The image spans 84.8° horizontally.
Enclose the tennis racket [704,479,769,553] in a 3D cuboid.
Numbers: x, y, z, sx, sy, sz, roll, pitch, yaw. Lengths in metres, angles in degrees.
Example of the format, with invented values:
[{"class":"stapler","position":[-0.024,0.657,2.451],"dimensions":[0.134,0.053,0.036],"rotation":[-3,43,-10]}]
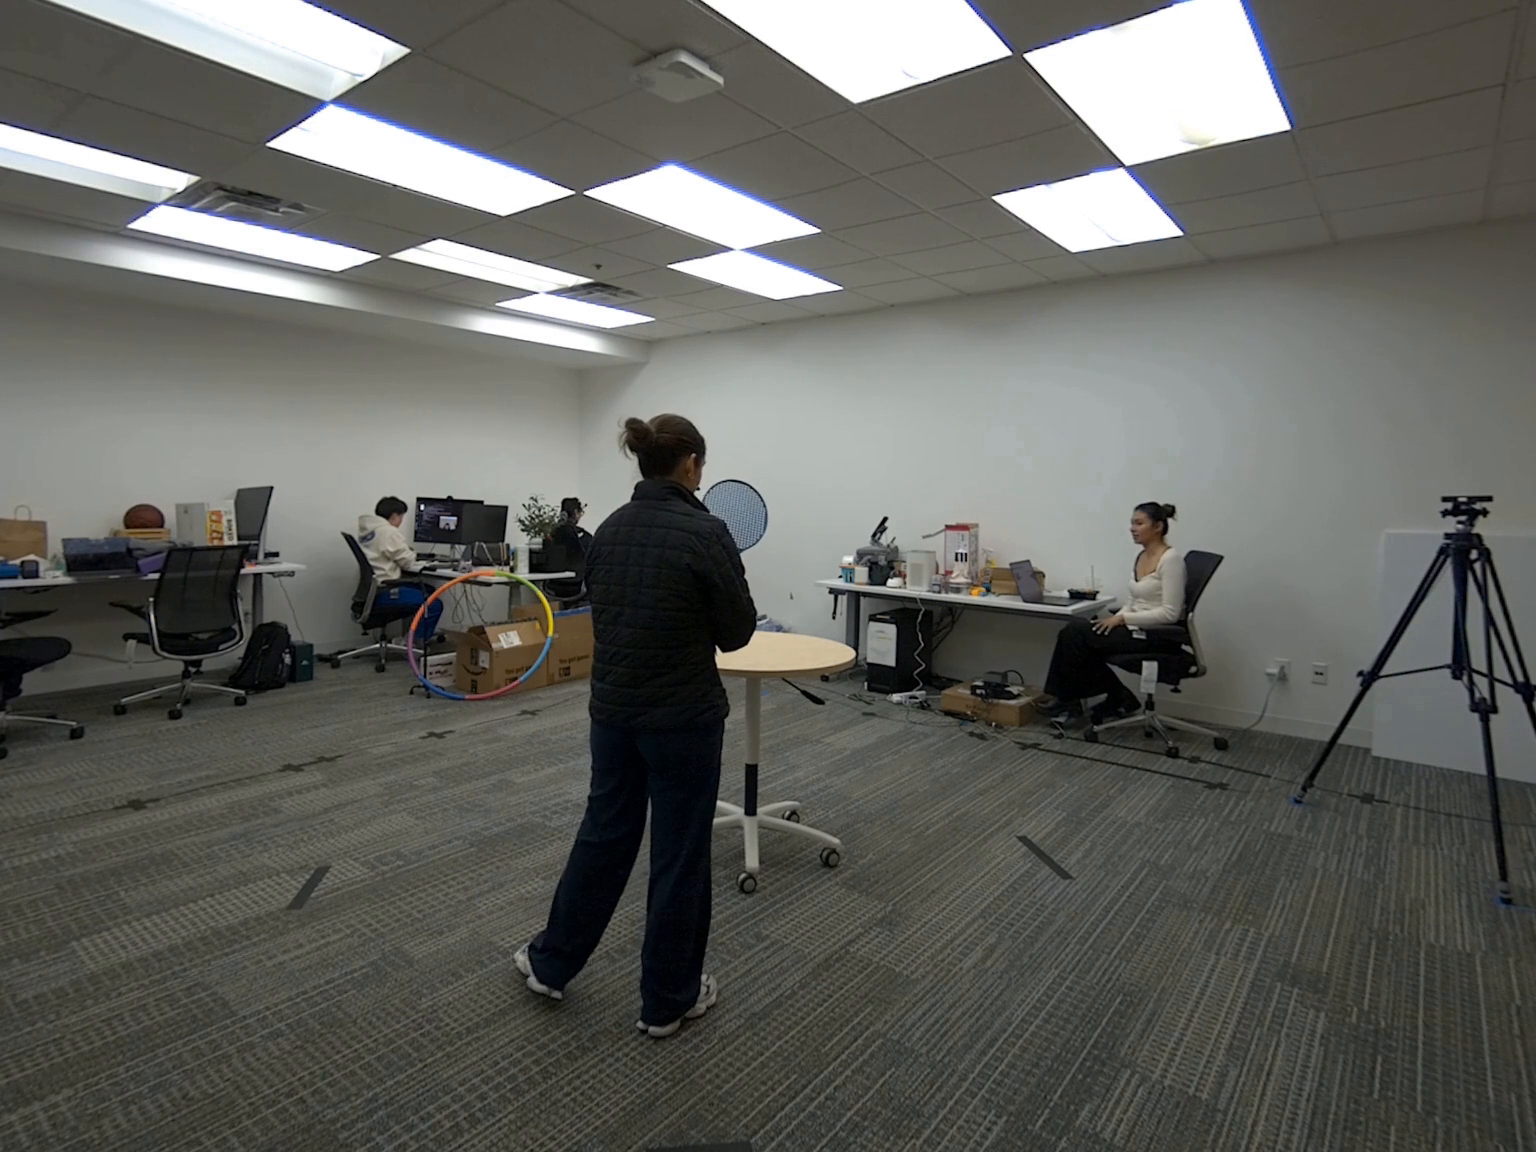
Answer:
[{"class":"tennis racket","position":[-0.107,-0.120,2.580],"dimensions":[0.213,0.442,0.031],"rotation":[9,-32,-2]}]
